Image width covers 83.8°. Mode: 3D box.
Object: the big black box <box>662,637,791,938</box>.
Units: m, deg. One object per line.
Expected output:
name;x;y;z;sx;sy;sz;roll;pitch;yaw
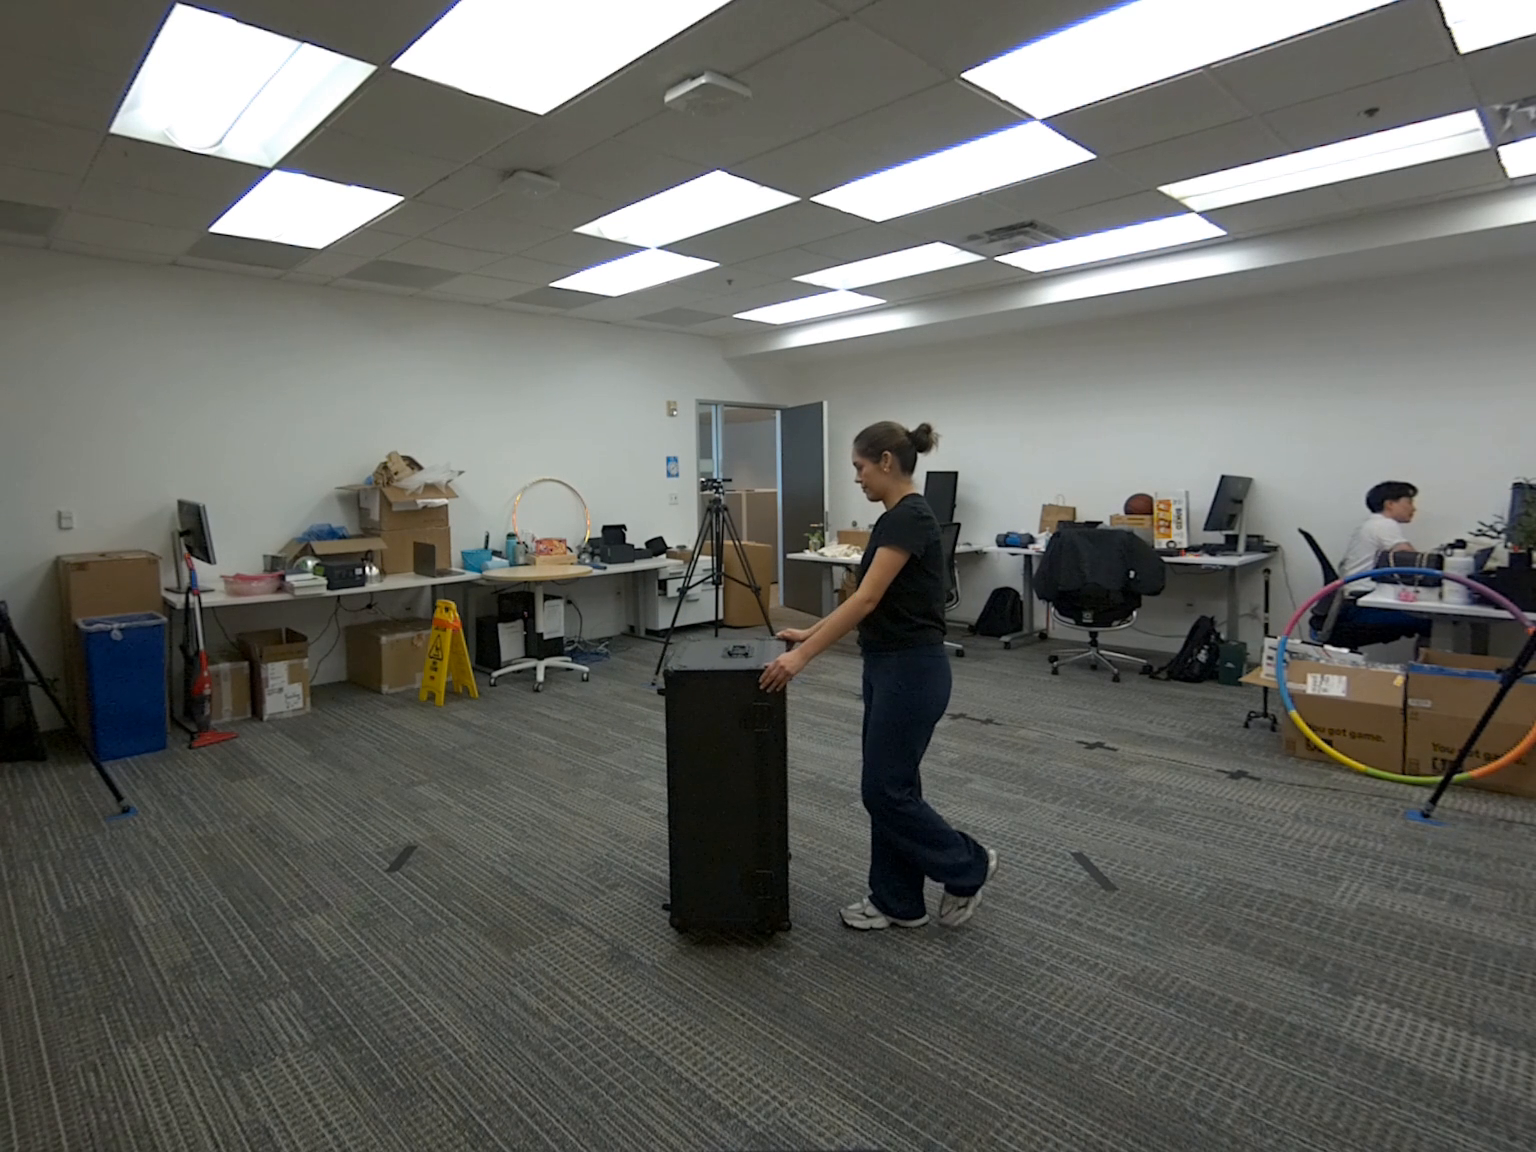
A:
big black box;-0.122;0.661;2.740;0.397;0.858;0.522;-1;5;2
